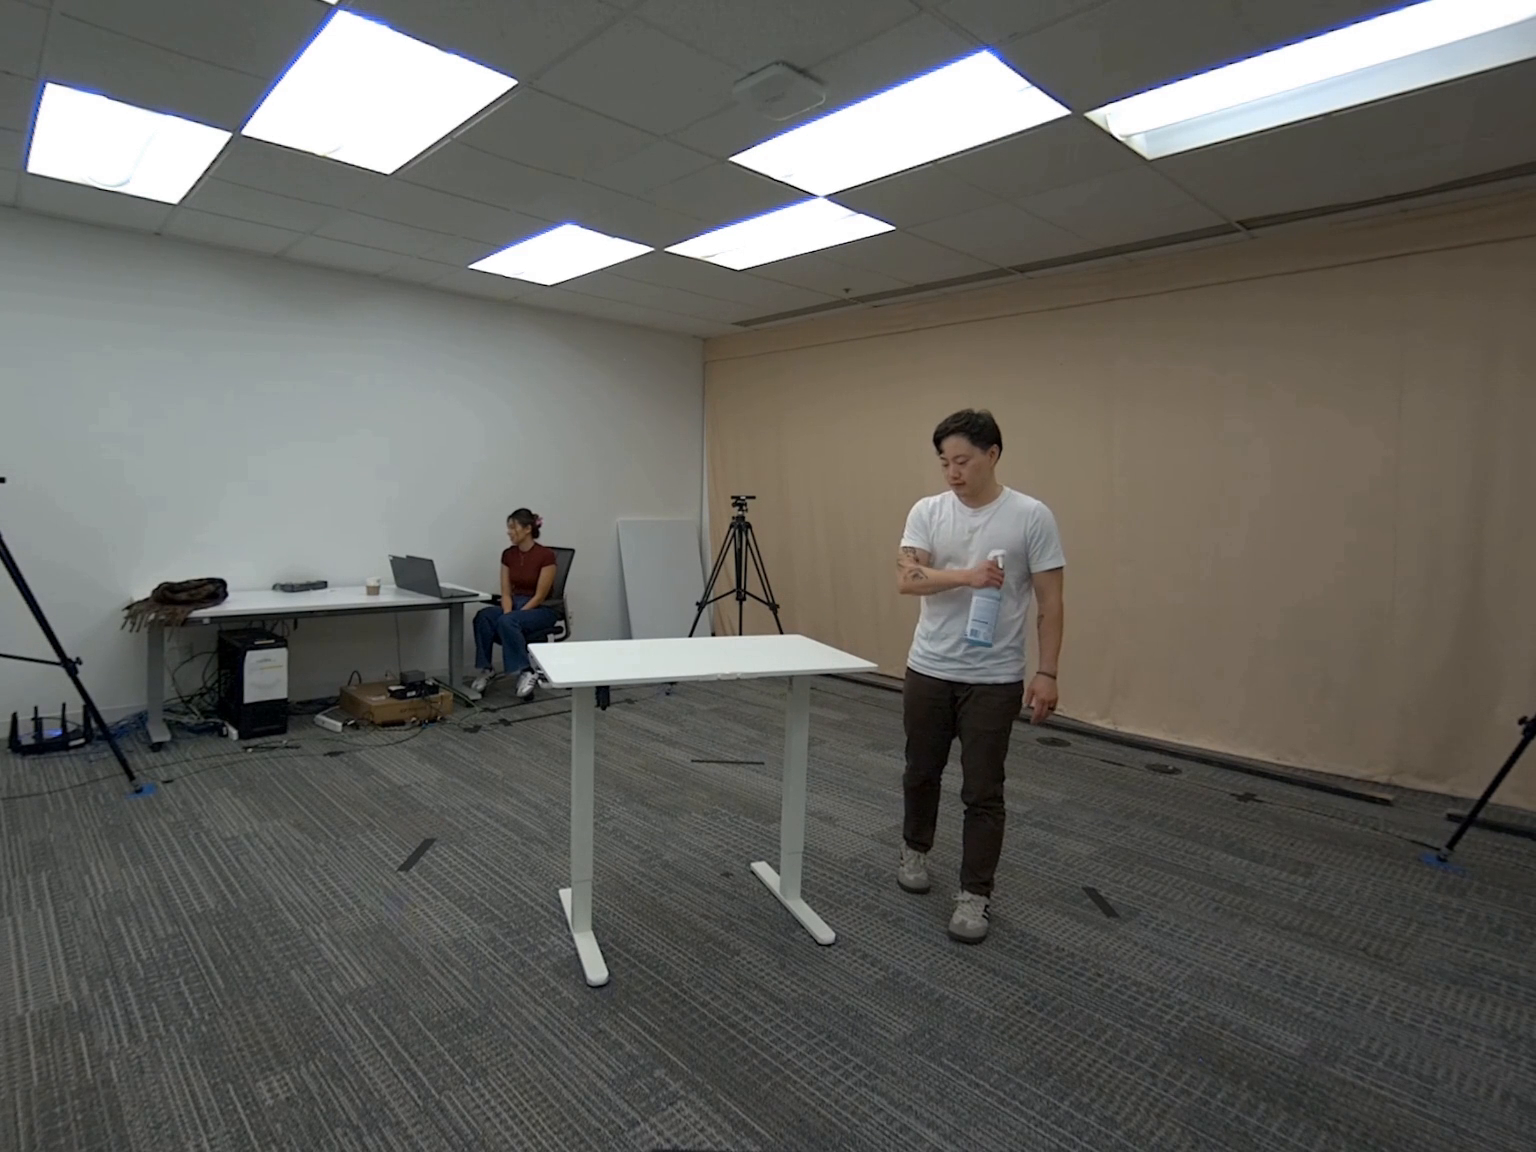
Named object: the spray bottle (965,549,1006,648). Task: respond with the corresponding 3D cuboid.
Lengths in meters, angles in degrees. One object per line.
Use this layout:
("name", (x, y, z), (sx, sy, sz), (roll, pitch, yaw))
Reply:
("spray bottle", (0.643, 0.077, 2.555), (0.088, 0.297, 0.089), (11, 0, 13))
